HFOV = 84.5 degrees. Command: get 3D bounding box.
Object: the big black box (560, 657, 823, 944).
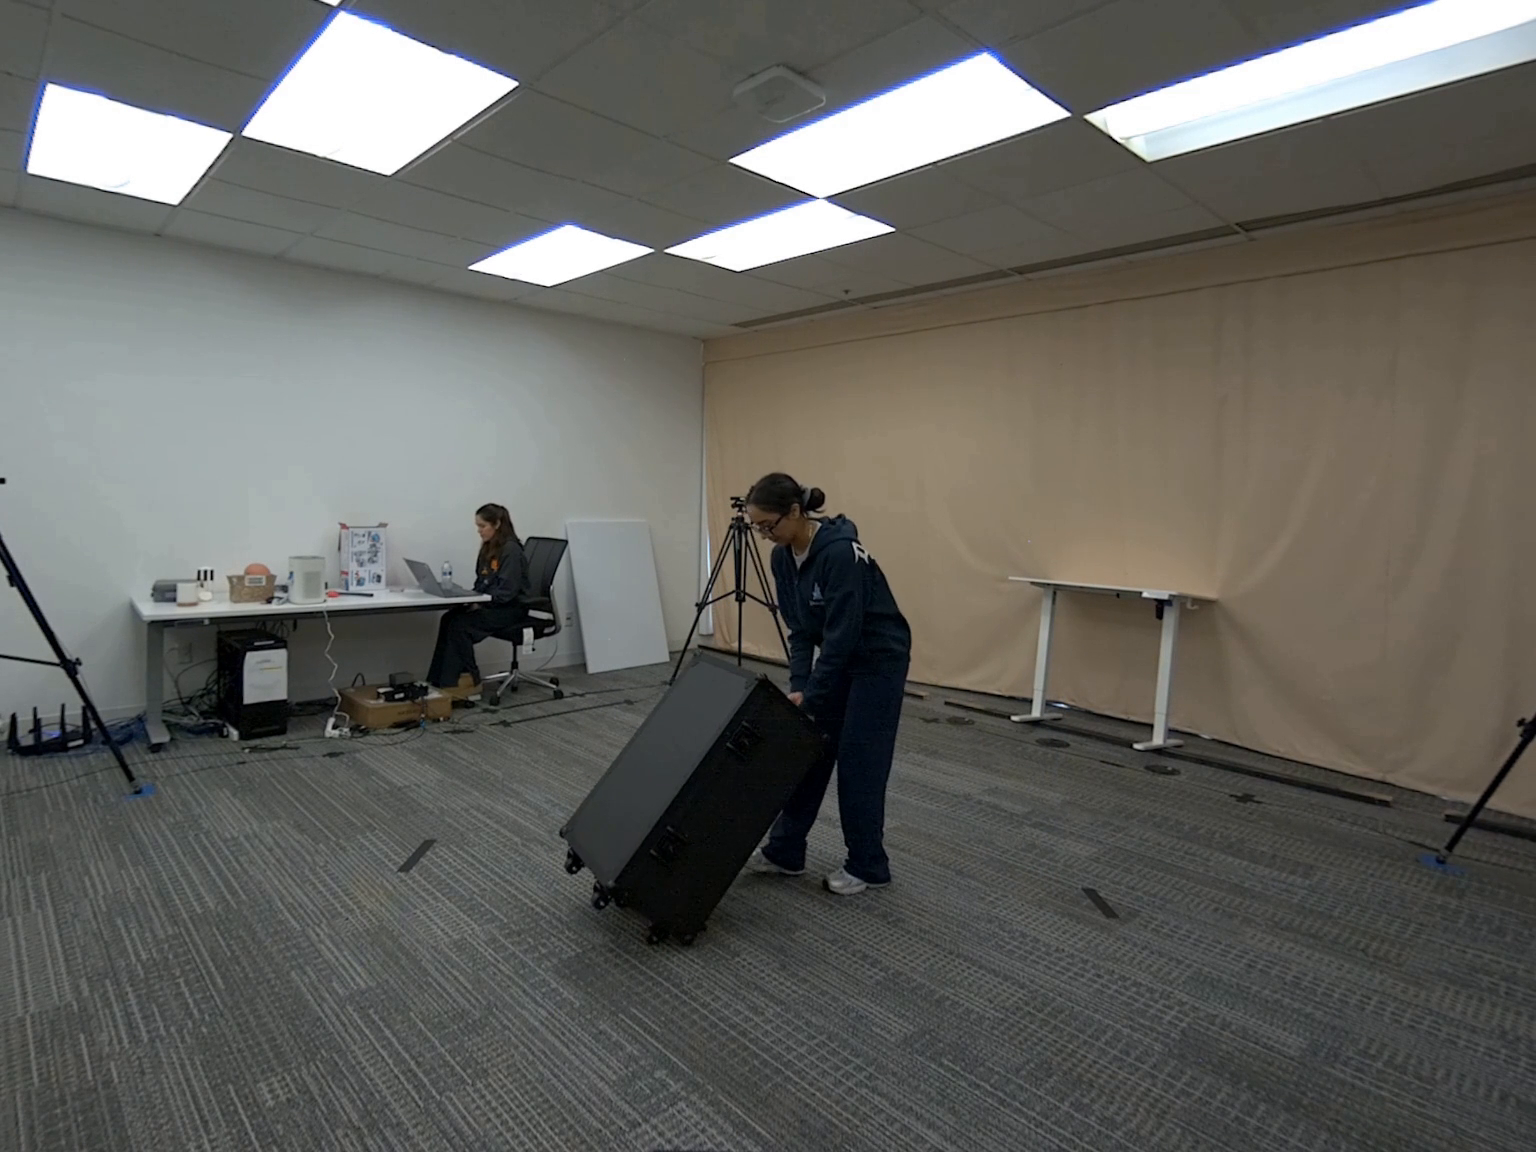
[{"bbox_3d":[-0.263,0.737,2.787,0.509,0.862,0.405,46,-17,-24],"label":"big black box"}]
